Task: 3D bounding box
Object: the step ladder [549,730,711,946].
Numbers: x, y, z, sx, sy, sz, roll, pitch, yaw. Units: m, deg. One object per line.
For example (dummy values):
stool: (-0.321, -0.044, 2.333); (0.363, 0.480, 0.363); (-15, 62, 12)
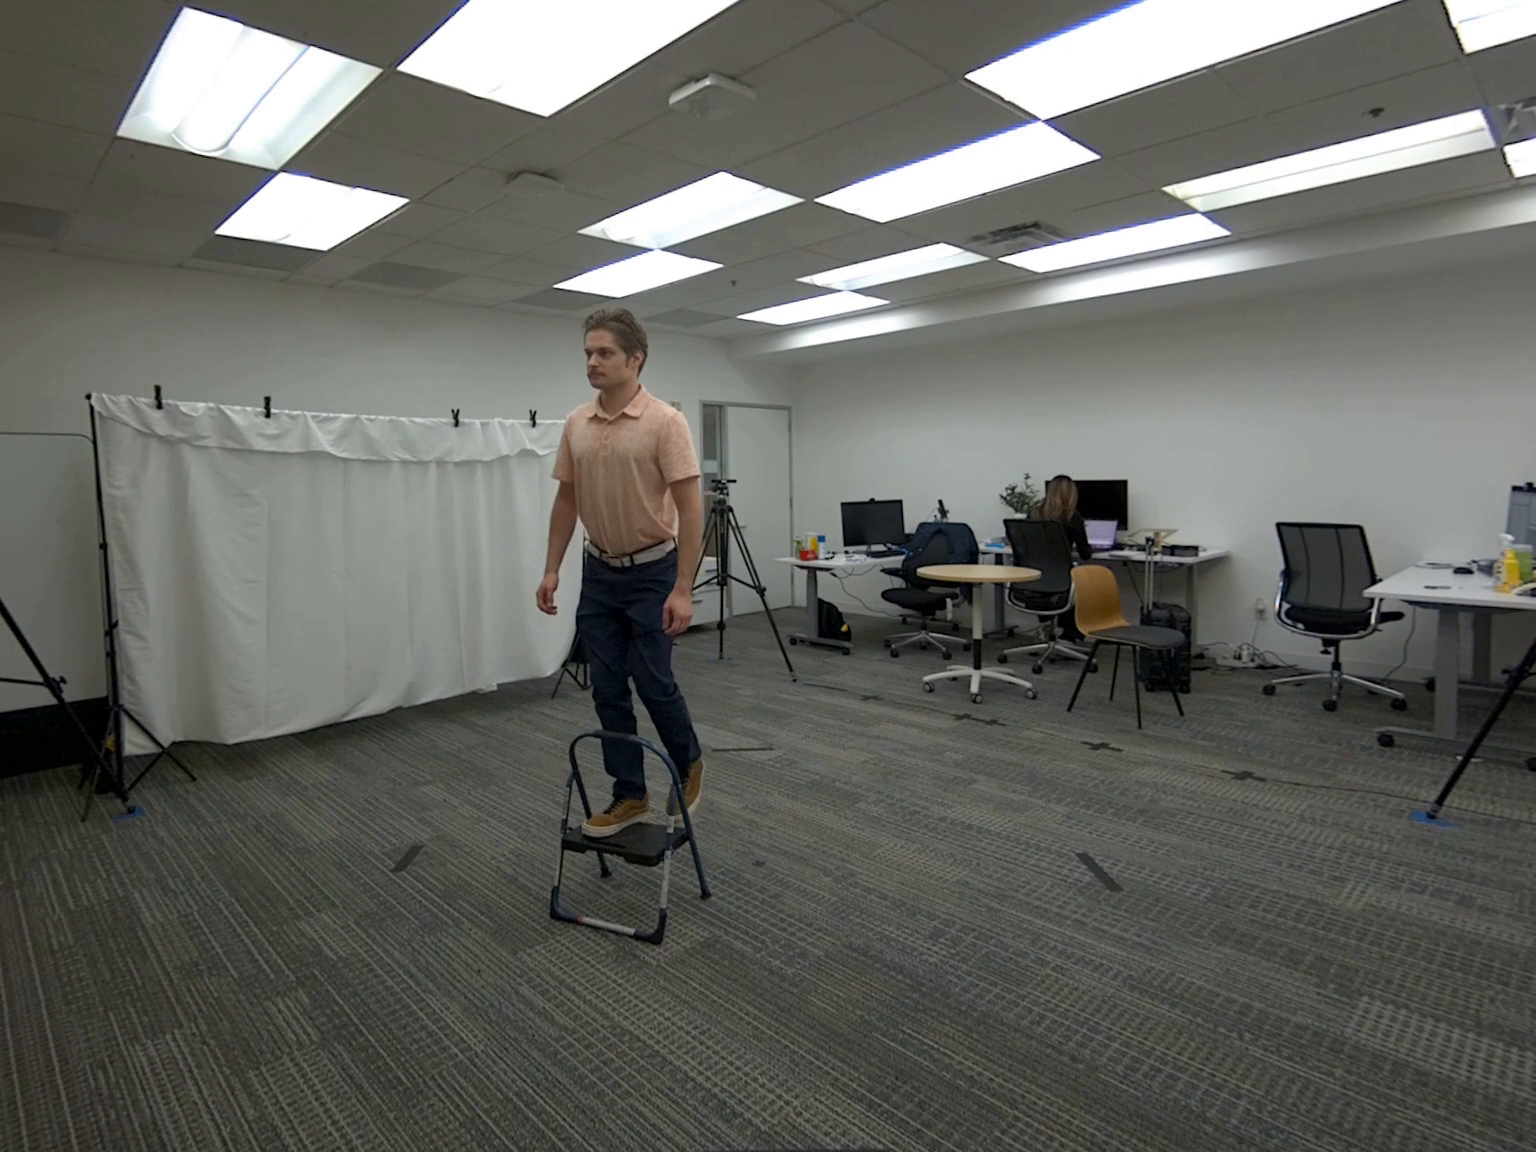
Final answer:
step ladder: (-0.456, 0.791, 2.792); (0.440, 0.603, 0.343); (1, 5, 24)
